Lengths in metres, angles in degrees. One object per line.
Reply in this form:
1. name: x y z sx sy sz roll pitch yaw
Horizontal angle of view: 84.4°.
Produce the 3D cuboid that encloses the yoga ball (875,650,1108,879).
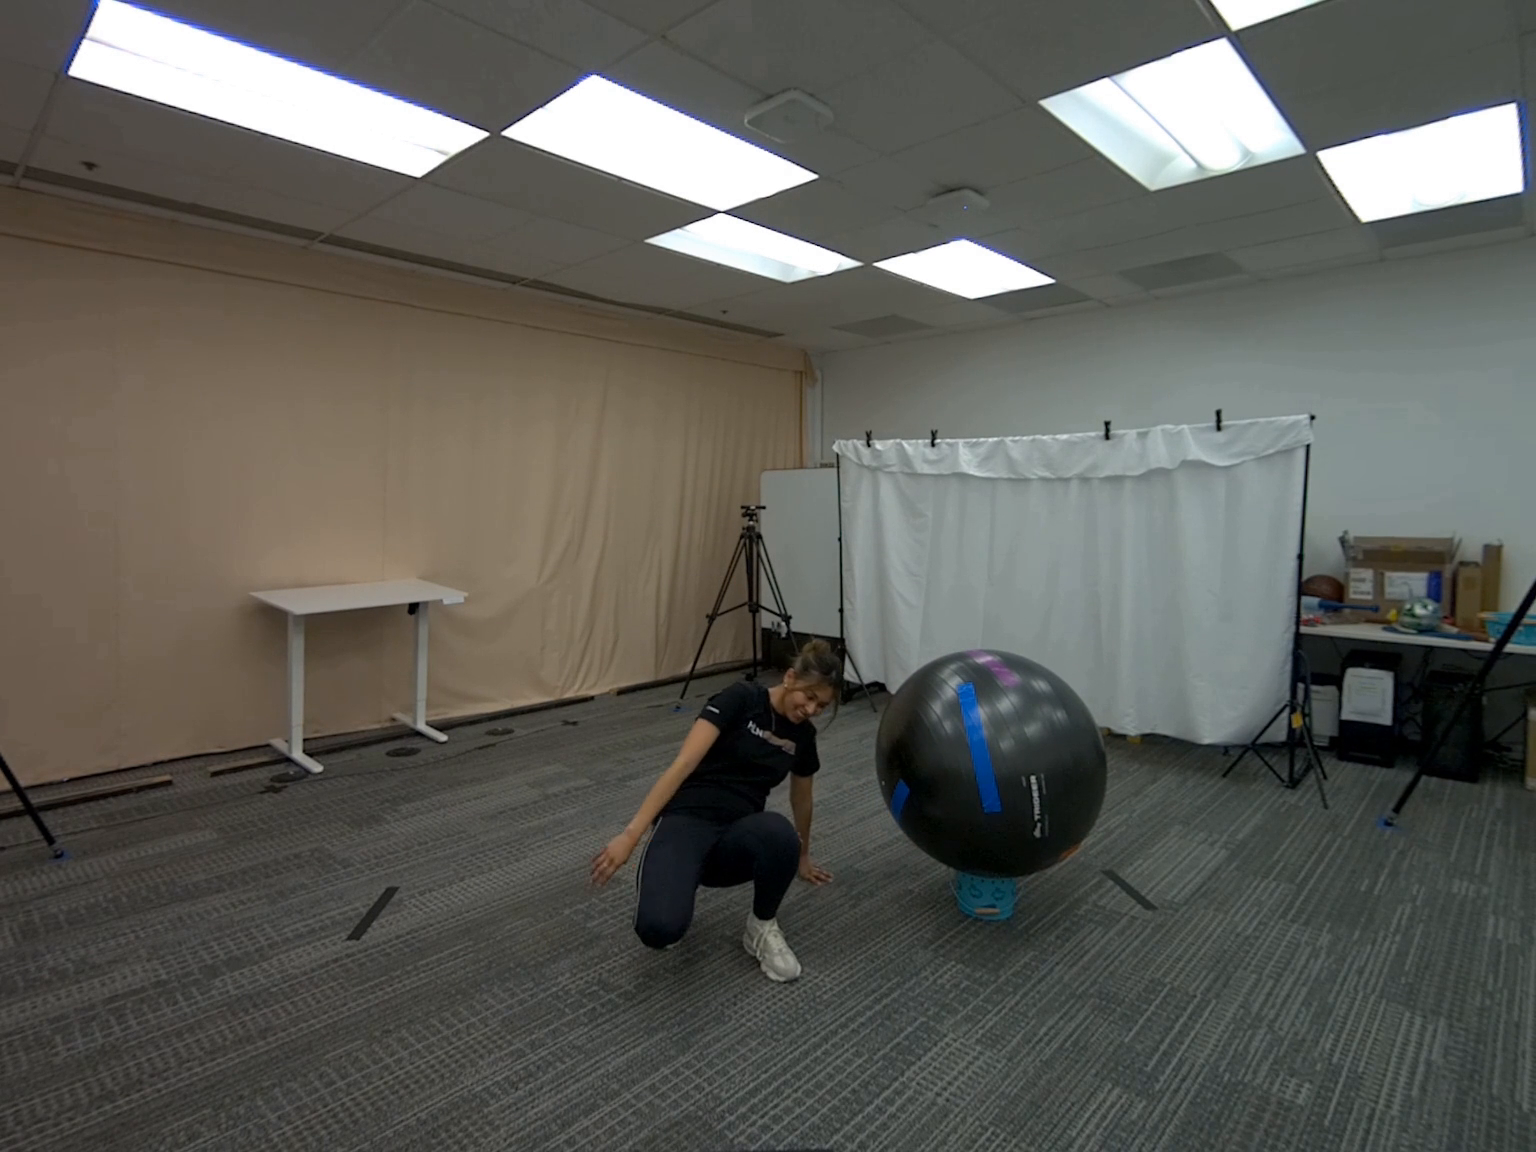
1. yoga ball: 0.772 0.642 2.902 0.757 0.756 0.760 0 4 -2
